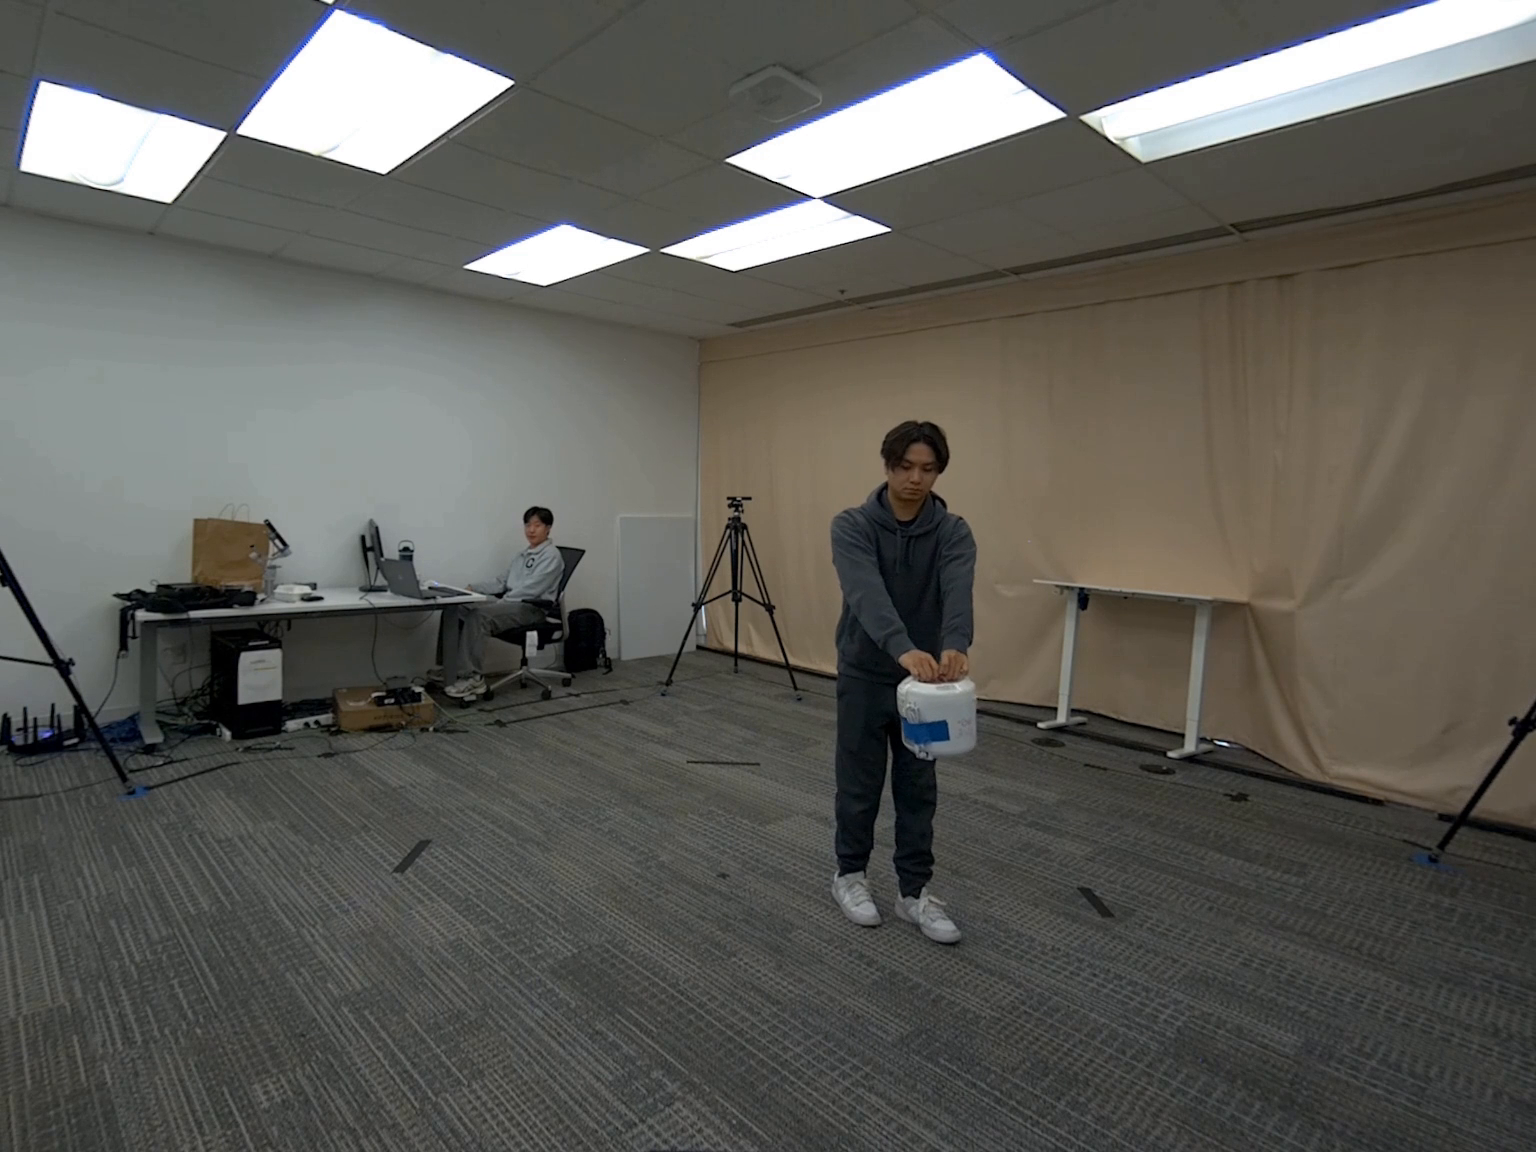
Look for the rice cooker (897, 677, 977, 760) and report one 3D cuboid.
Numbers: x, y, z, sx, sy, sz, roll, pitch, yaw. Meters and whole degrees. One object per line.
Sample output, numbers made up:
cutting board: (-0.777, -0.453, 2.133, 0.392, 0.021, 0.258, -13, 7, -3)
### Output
rice cooker: (0.467, 0.376, 2.361, 0.220, 0.232, 0.219, -3, 6, -3)
